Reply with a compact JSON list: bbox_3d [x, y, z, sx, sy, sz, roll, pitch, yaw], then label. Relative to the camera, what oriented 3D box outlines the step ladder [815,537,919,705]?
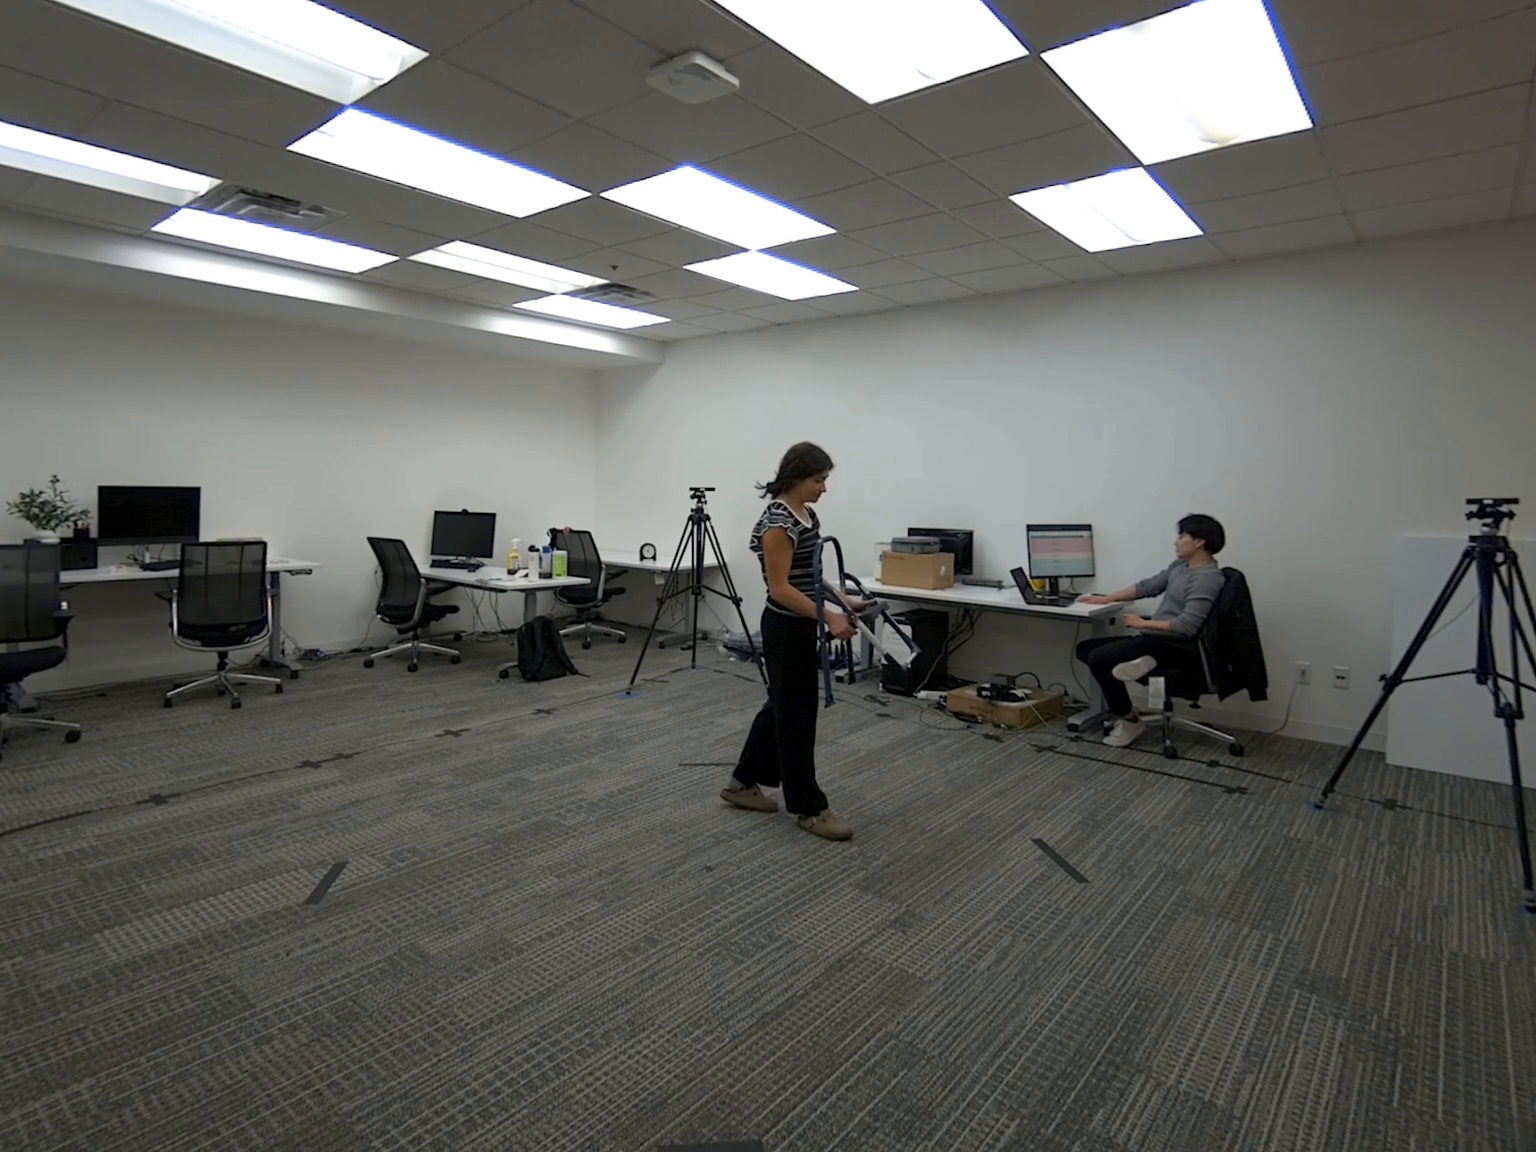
[{"bbox_3d":[0.298,0.147,3.478,0.353,0.611,0.423,-27,-5,21],"label":"step ladder"}]
